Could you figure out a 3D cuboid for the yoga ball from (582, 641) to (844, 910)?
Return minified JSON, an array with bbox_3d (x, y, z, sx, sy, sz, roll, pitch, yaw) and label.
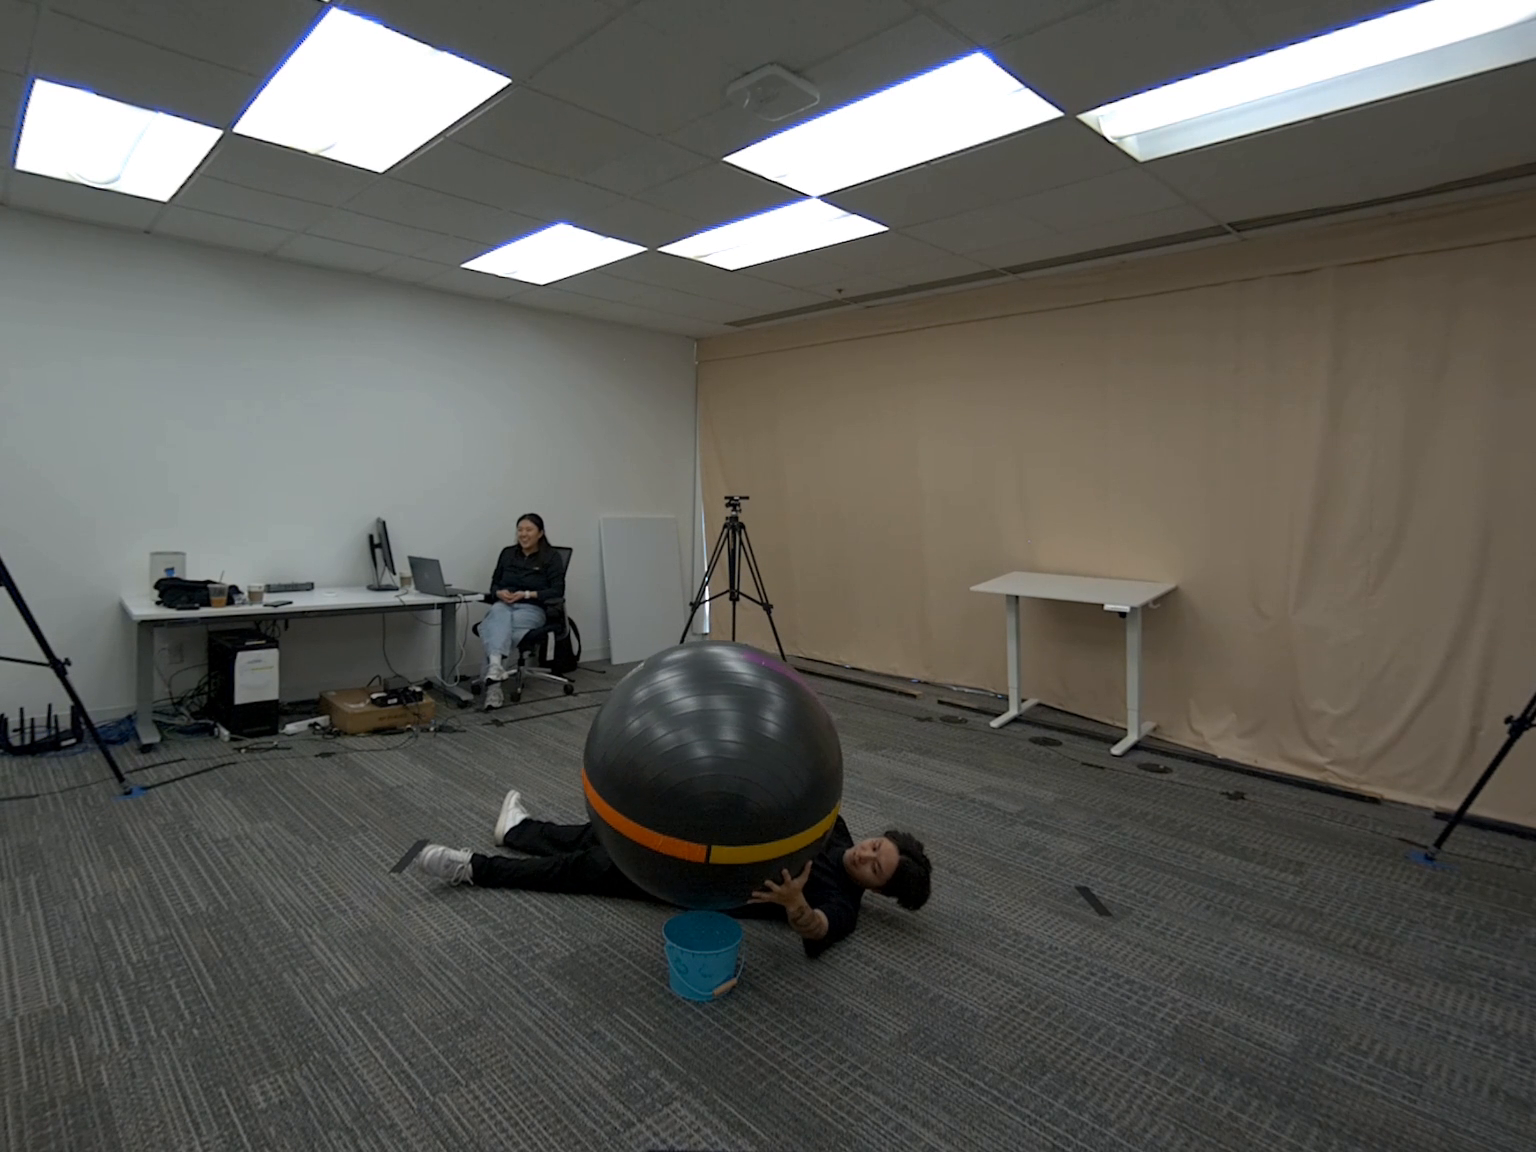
[{"bbox_3d":[-0.160,0.571,2.481,0.757,0.756,0.761,1,4,-1],"label":"yoga ball"}]
